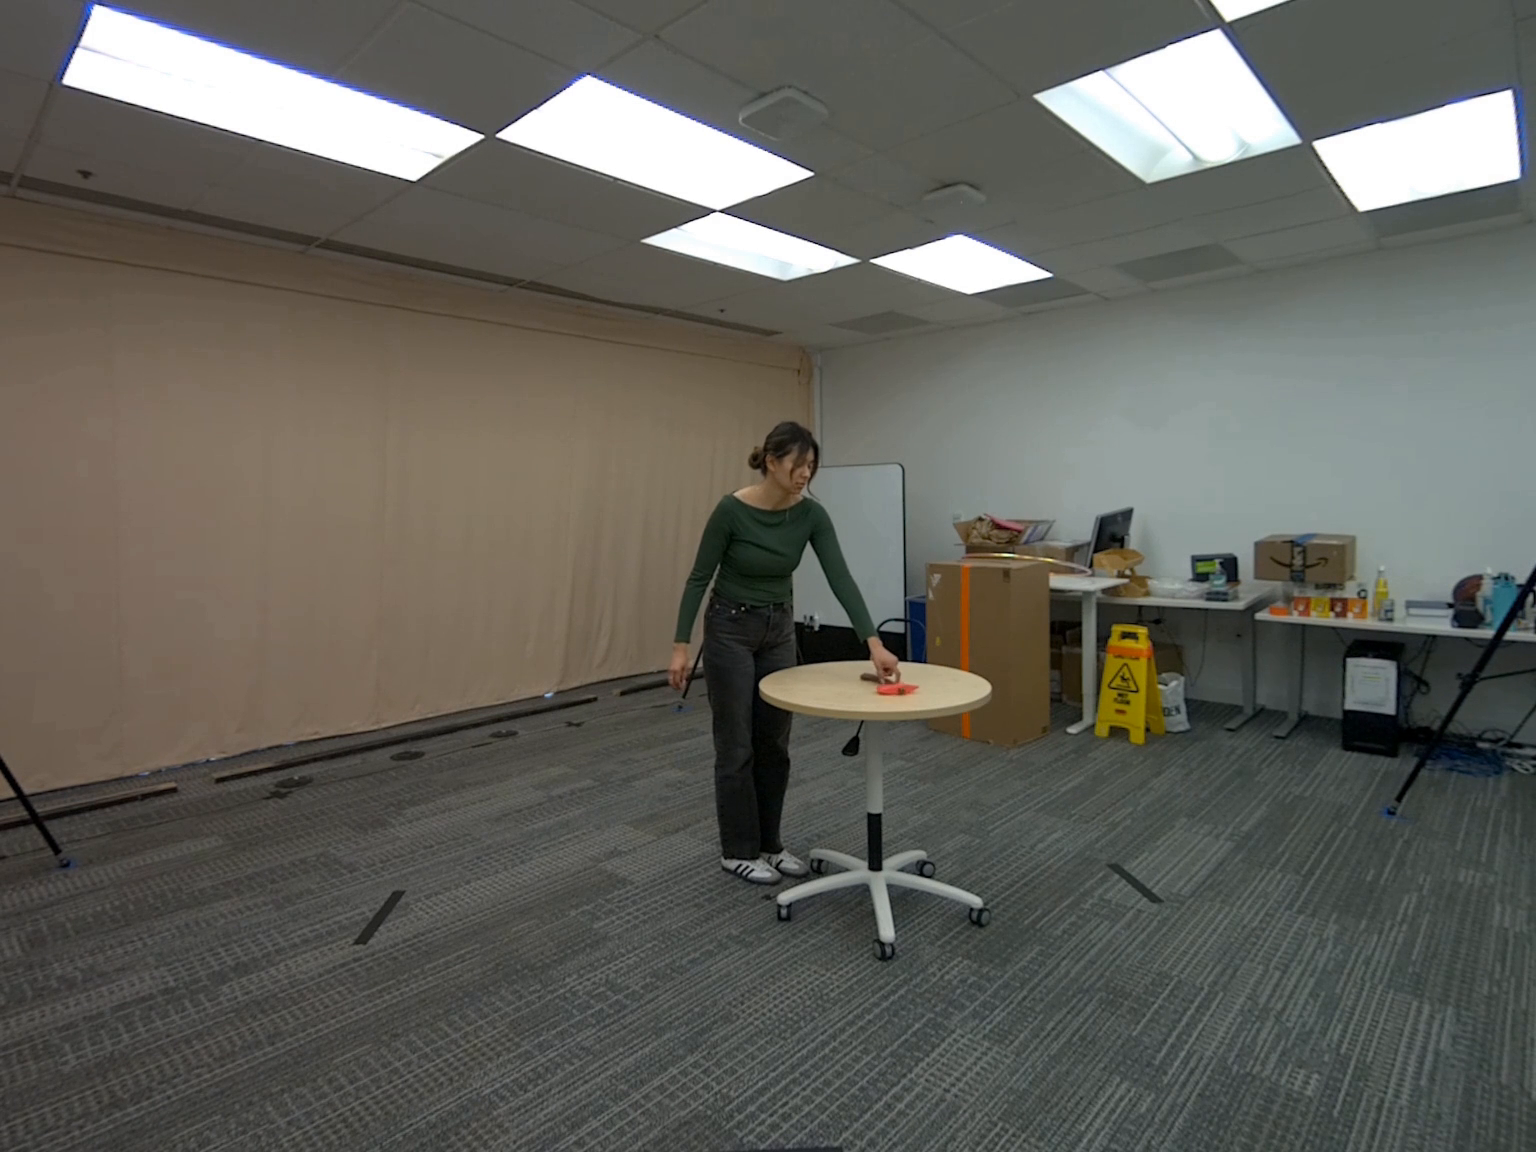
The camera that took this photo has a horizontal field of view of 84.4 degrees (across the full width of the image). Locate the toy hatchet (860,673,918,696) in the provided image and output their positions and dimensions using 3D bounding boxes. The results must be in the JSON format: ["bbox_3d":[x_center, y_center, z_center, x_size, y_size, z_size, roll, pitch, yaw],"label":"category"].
[{"bbox_3d":[0.368,0.357,2.775,0.128,0.029,0.277,-9,6,-29],"label":"toy hatchet"}]
